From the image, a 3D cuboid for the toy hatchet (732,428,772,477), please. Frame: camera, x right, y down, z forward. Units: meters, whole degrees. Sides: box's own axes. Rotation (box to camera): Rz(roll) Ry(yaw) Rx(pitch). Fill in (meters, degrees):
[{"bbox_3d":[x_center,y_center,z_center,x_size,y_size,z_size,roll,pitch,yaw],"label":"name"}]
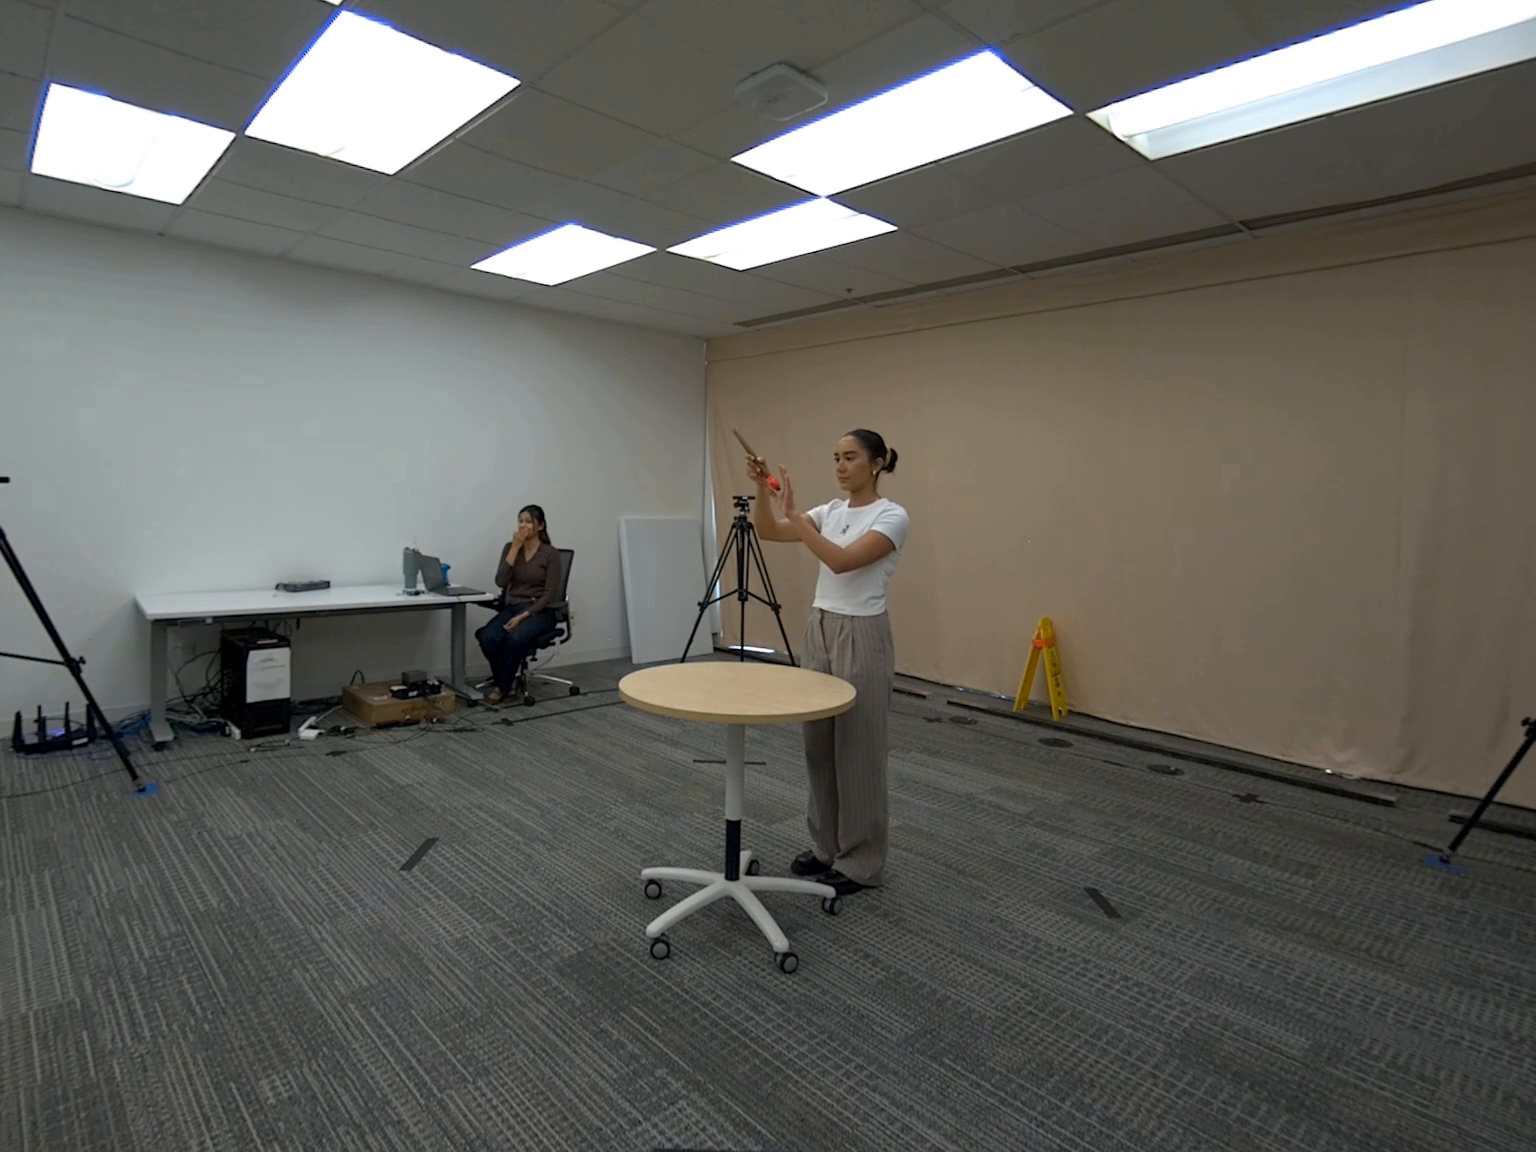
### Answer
[{"bbox_3d":[-0.039,-0.395,2.891,0.030,0.277,0.127,-35,-27,13],"label":"toy hatchet"}]
